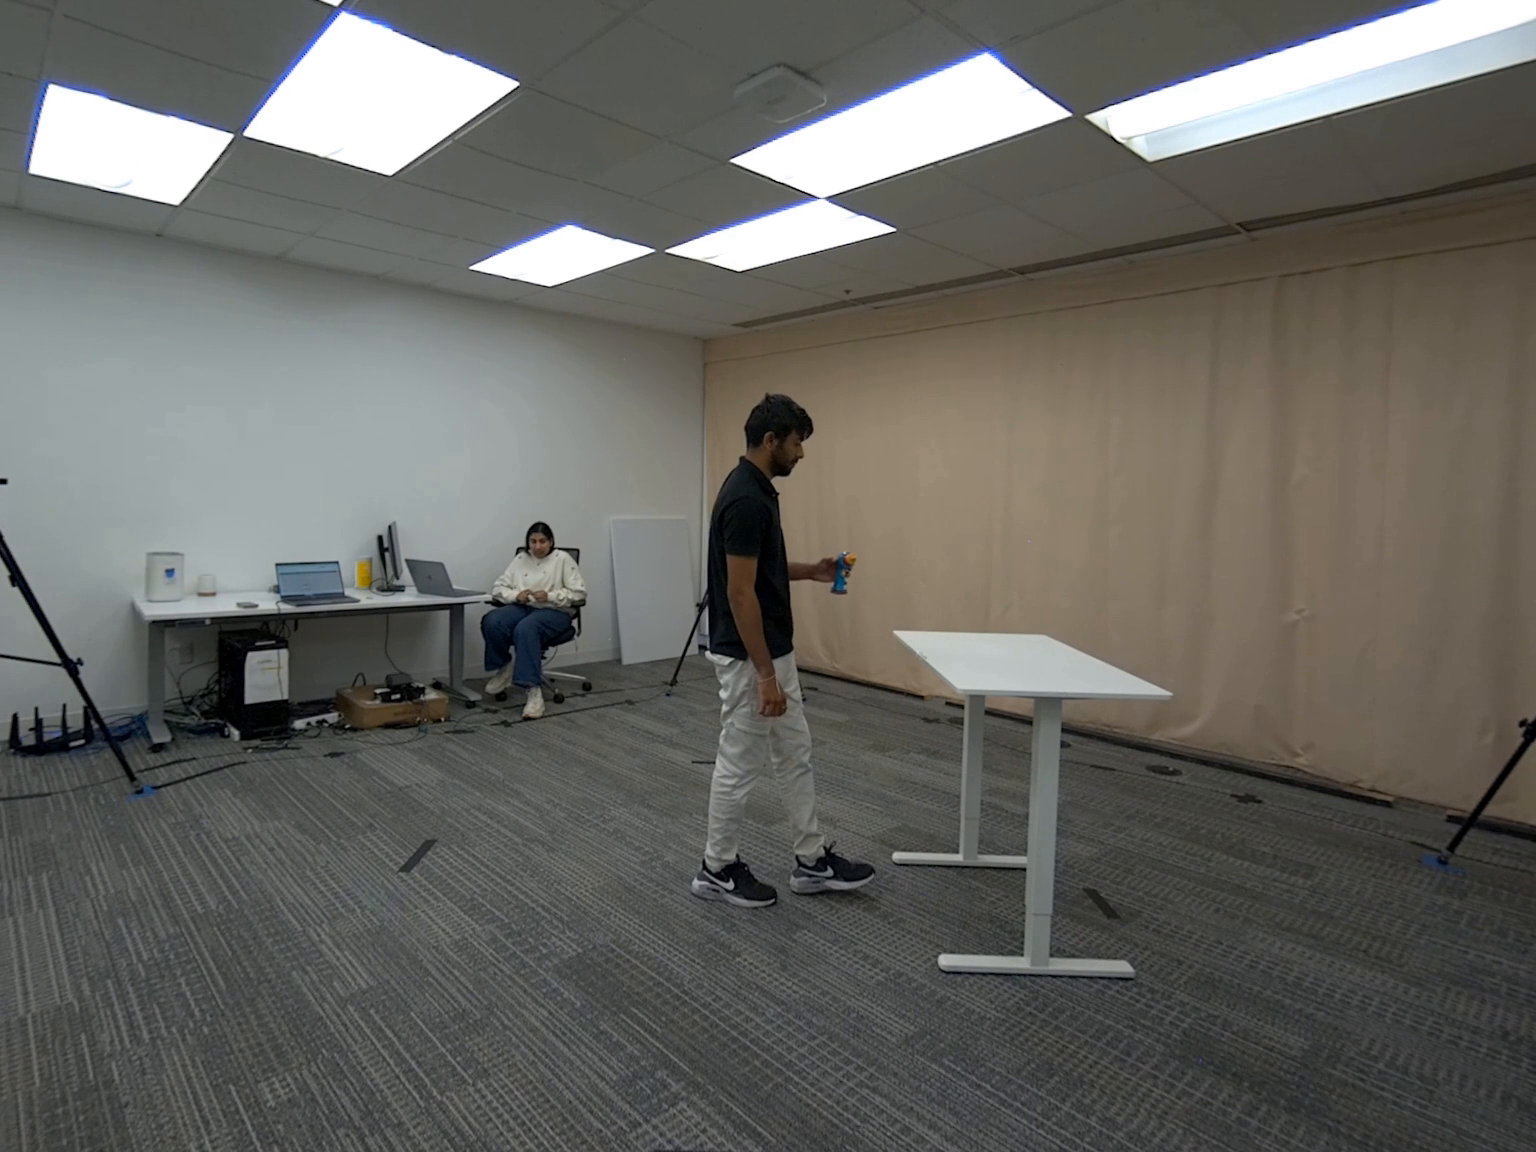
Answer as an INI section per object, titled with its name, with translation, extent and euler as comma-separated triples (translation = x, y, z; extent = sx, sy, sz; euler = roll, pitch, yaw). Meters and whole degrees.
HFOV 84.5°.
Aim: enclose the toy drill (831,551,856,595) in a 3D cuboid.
[toy drill]
translation = 0.256, -0.017, 2.910
extent = 0.060, 0.147, 0.172
euler = 13, -9, -19
